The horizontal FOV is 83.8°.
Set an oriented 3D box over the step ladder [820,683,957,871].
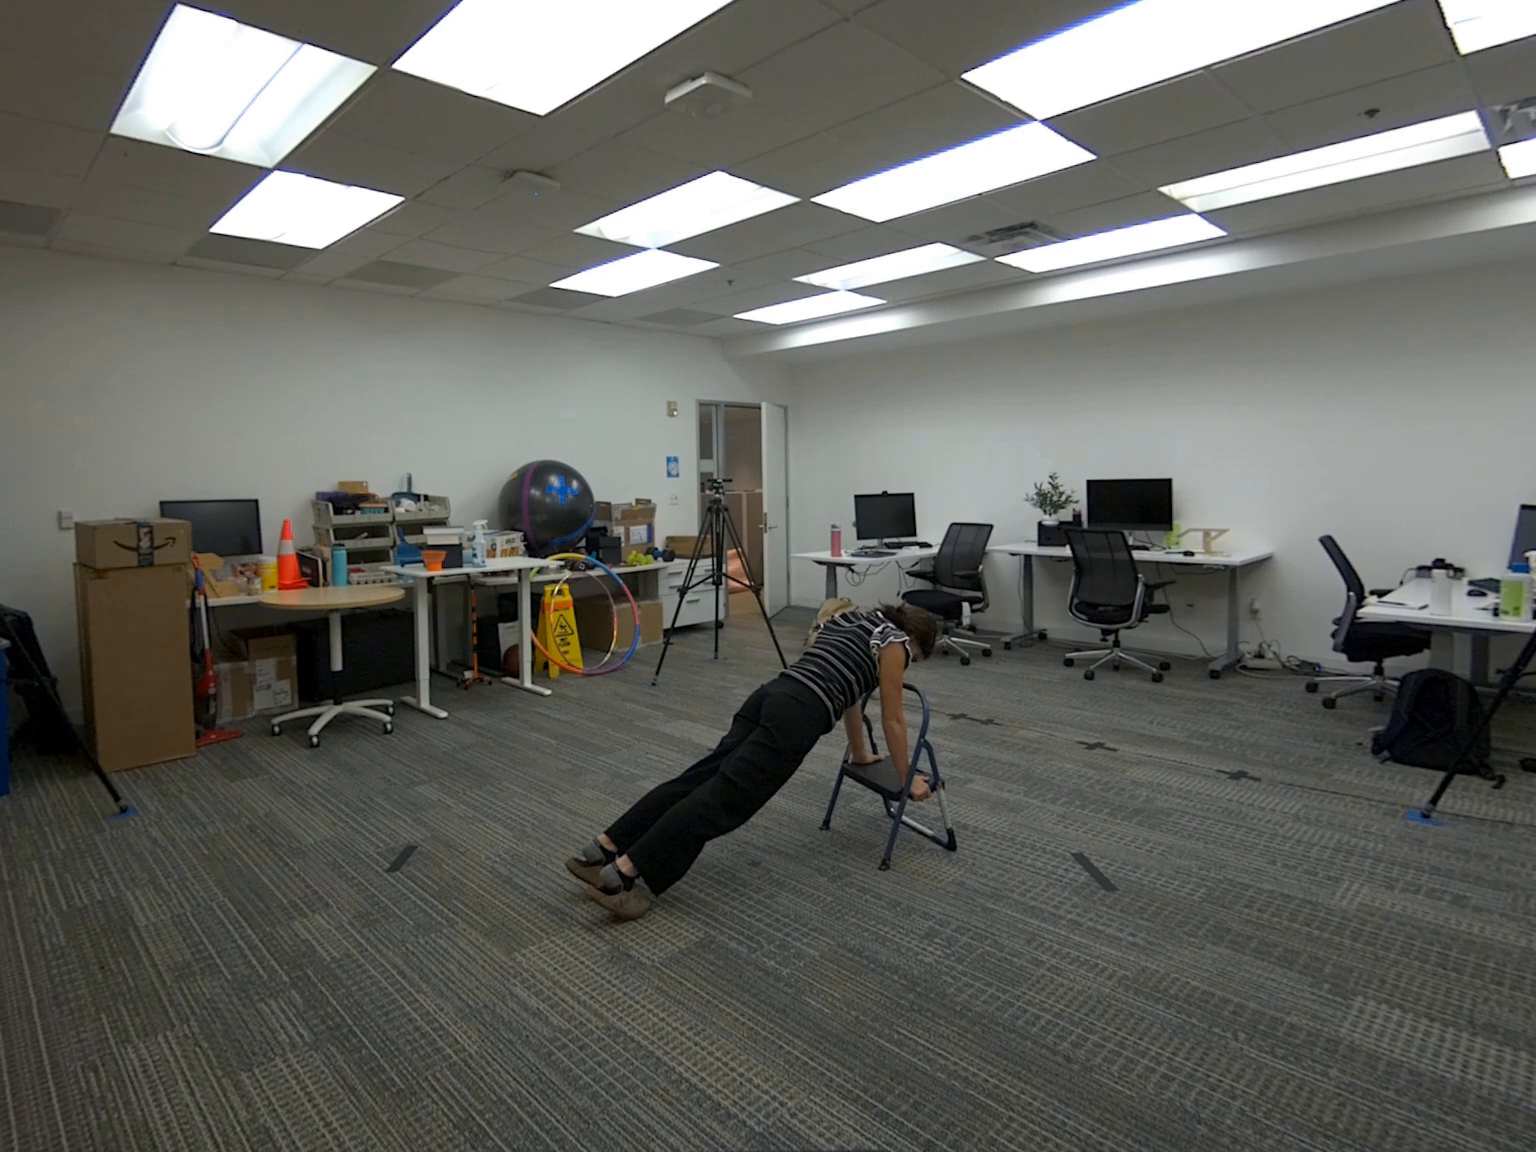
[{"bbox_3d":[0.457,0.716,3.280,0.341,0.604,0.442,-2,5,-28],"label":"step ladder"}]
